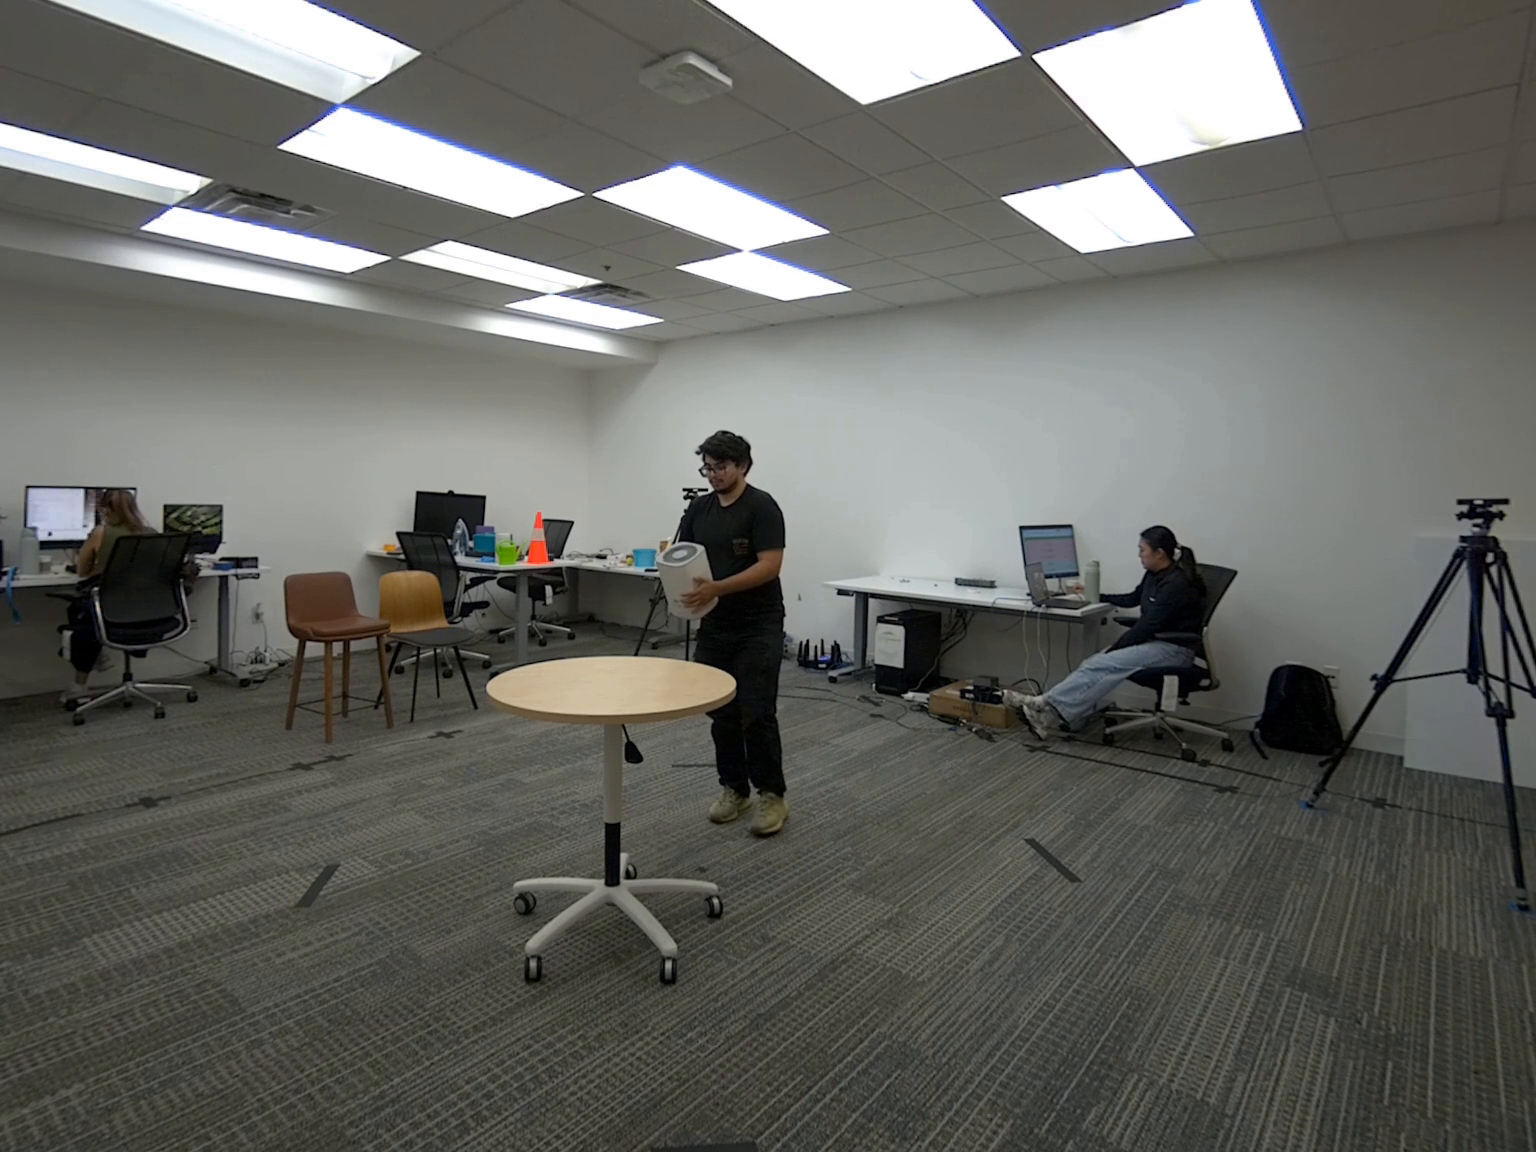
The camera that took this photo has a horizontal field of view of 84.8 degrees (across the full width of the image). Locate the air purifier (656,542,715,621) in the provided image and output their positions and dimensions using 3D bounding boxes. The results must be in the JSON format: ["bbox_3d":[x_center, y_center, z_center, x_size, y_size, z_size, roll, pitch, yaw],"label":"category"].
[{"bbox_3d":[-0.329,0.019,3.395,0.174,0.255,0.172,12,35,40],"label":"air purifier"}]
